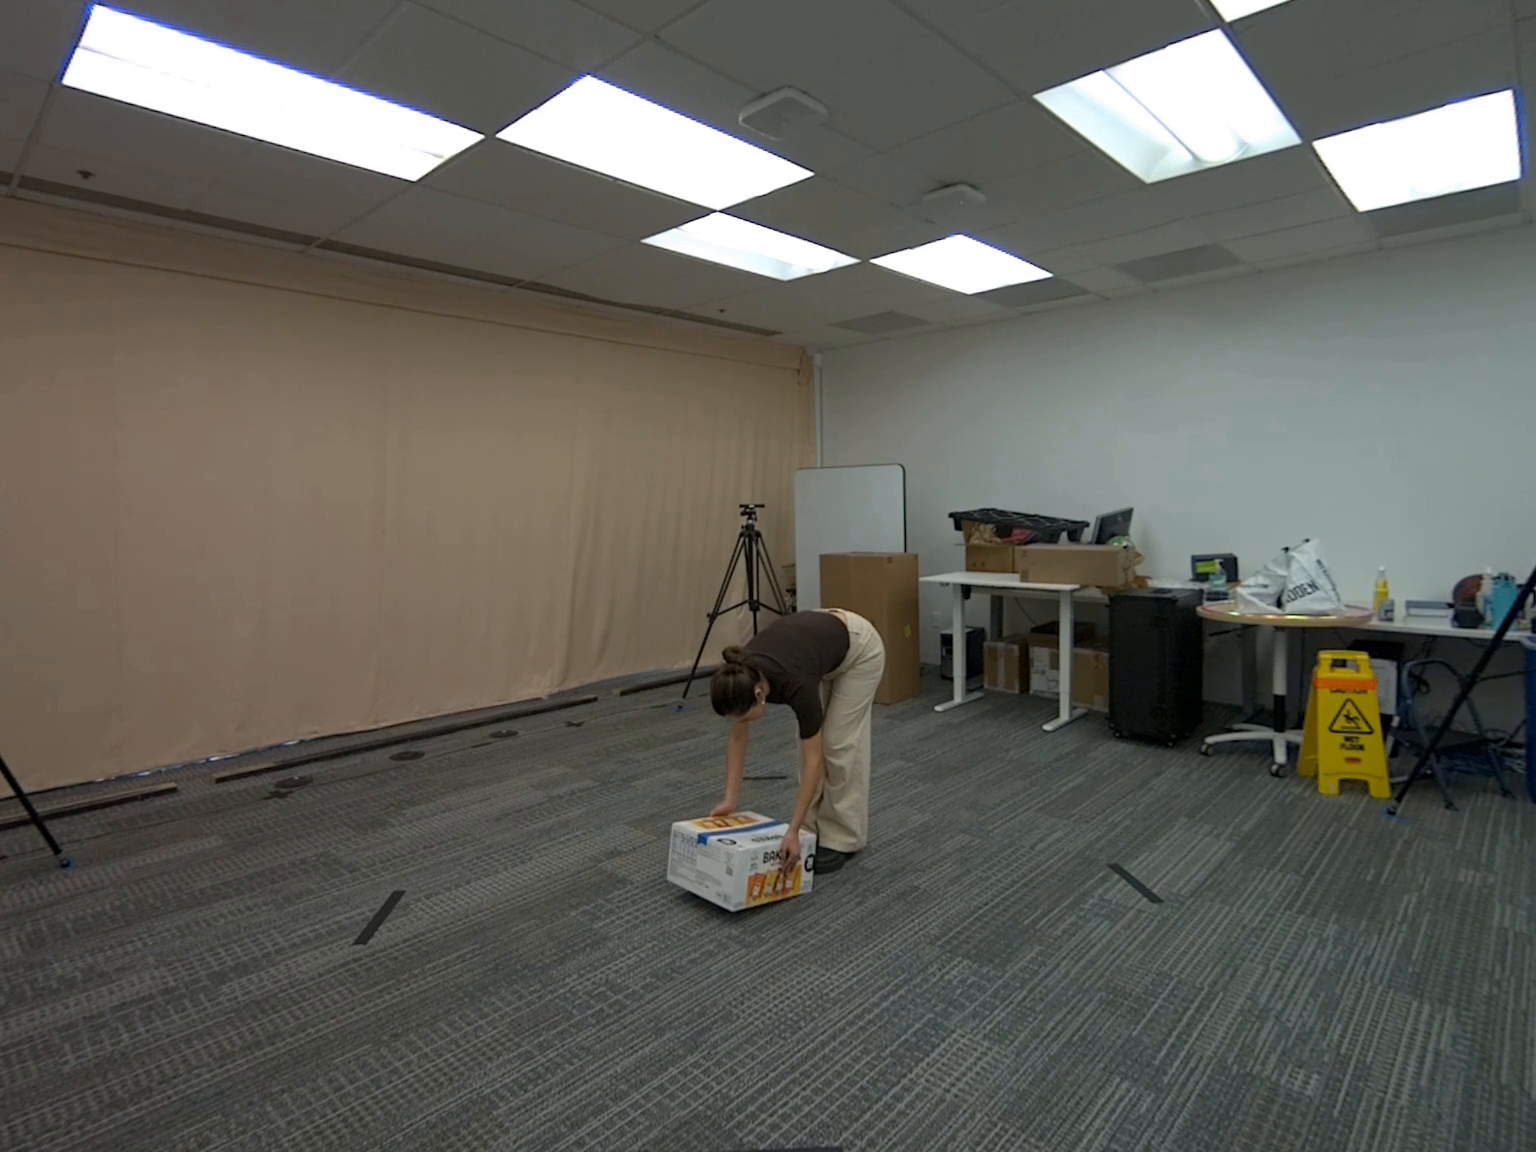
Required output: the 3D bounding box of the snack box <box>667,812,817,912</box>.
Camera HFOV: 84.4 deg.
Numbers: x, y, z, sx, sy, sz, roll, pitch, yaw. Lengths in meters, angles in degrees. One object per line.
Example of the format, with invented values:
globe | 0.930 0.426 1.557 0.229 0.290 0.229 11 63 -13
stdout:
snack box | -0.088 1.017 3.012 0.391 0.206 0.351 8 -3 -44
